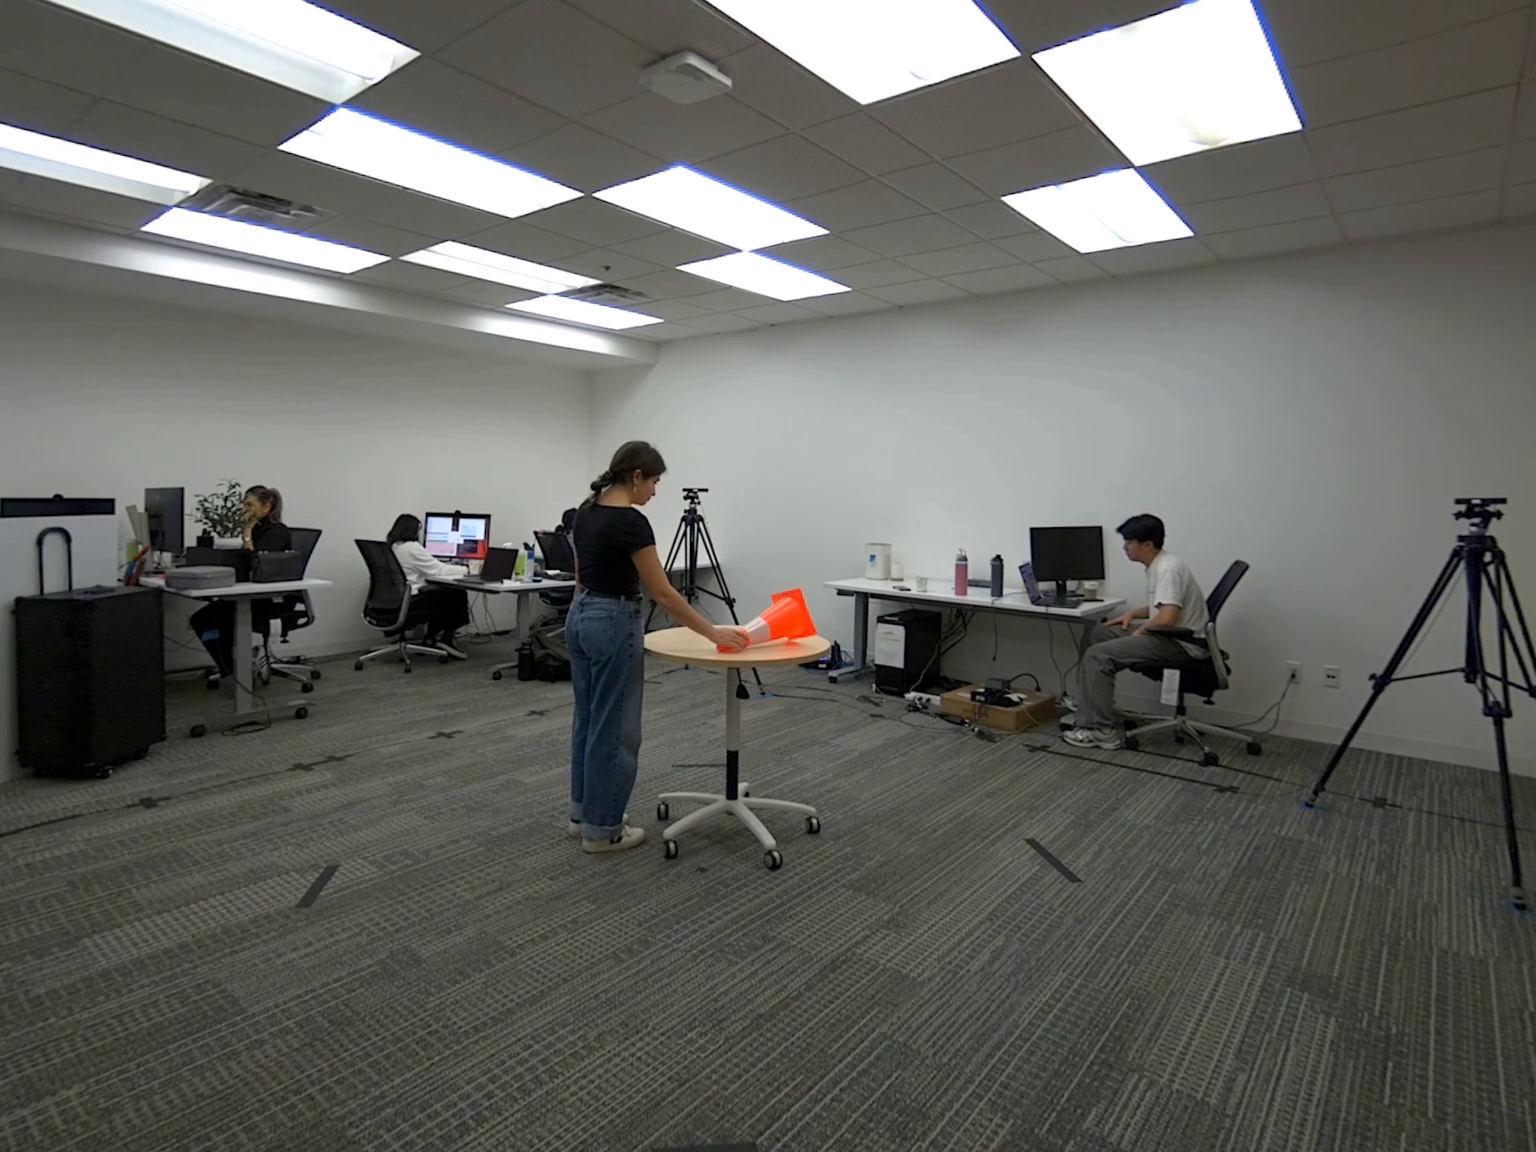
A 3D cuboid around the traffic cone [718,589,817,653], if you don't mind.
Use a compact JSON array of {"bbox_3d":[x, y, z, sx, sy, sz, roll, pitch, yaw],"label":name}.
[{"bbox_3d":[-0.043,0.210,3.292,0.377,0.204,0.208,-21,0,-31],"label":"traffic cone"}]
